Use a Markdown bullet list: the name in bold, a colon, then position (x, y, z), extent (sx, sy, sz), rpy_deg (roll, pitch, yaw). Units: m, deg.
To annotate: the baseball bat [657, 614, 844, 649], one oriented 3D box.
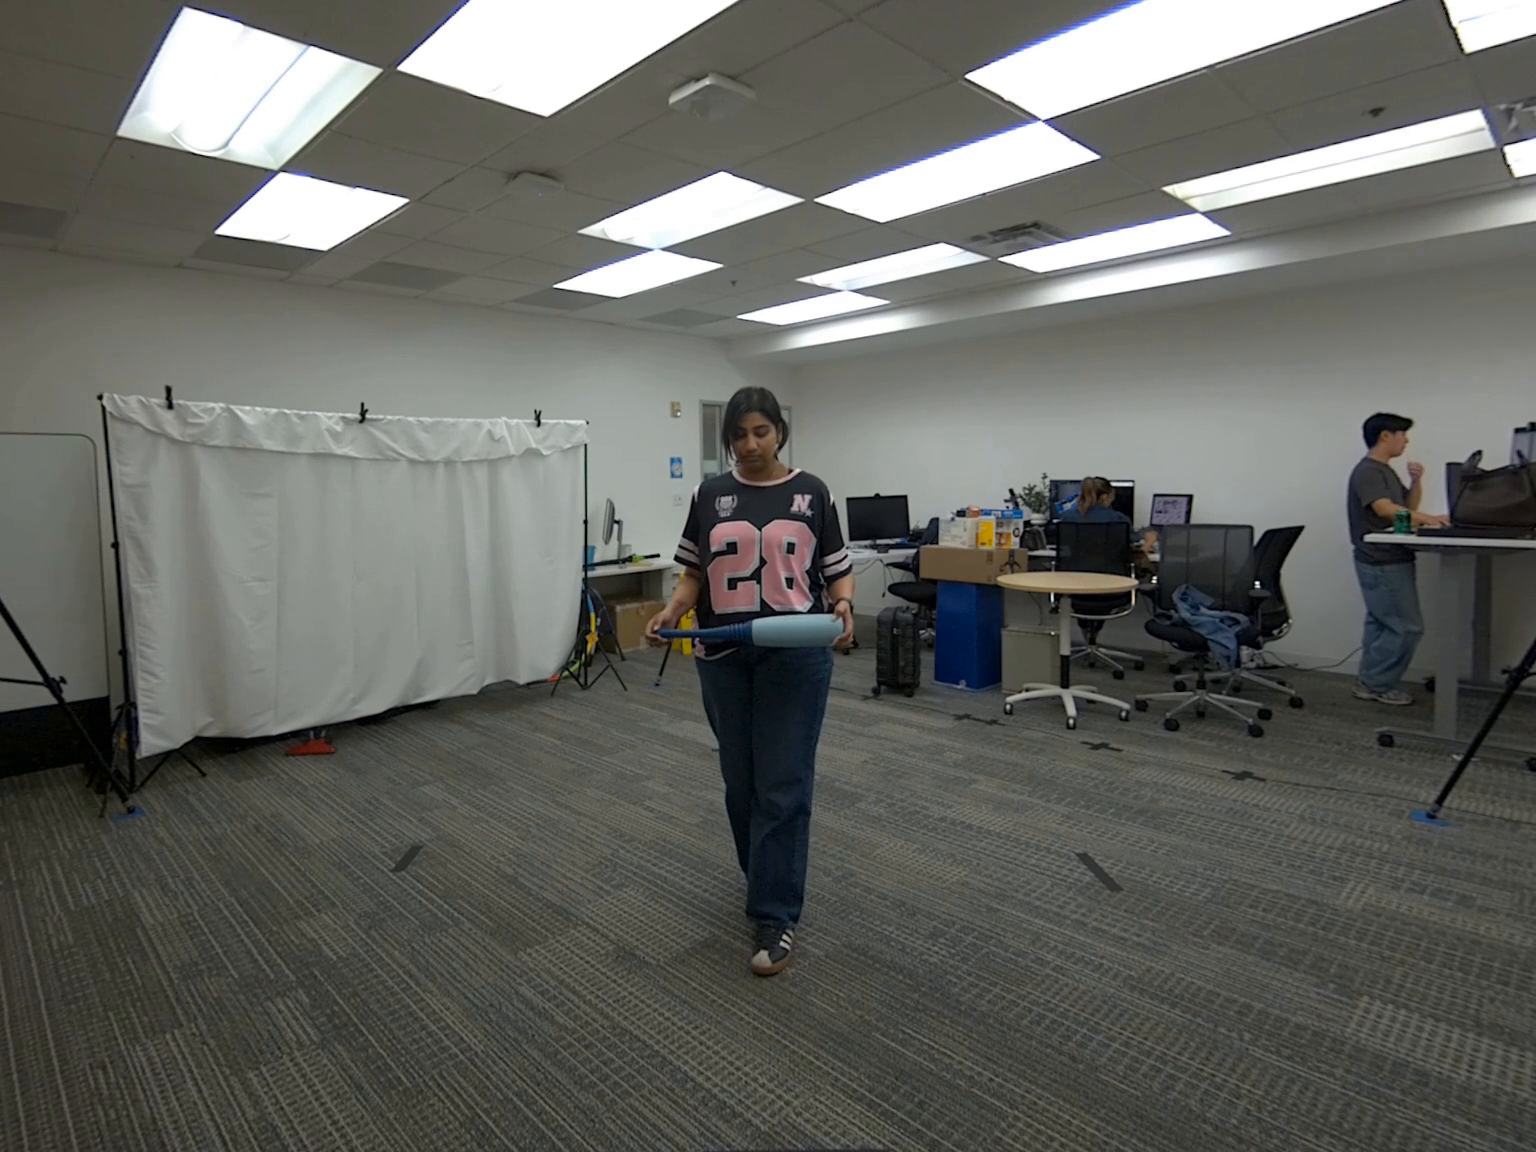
- **baseball bat**: position (-0.055, 0.162, 2.389), extent (0.549, 0.089, 0.088), rpy_deg (-3, 4, 12)
